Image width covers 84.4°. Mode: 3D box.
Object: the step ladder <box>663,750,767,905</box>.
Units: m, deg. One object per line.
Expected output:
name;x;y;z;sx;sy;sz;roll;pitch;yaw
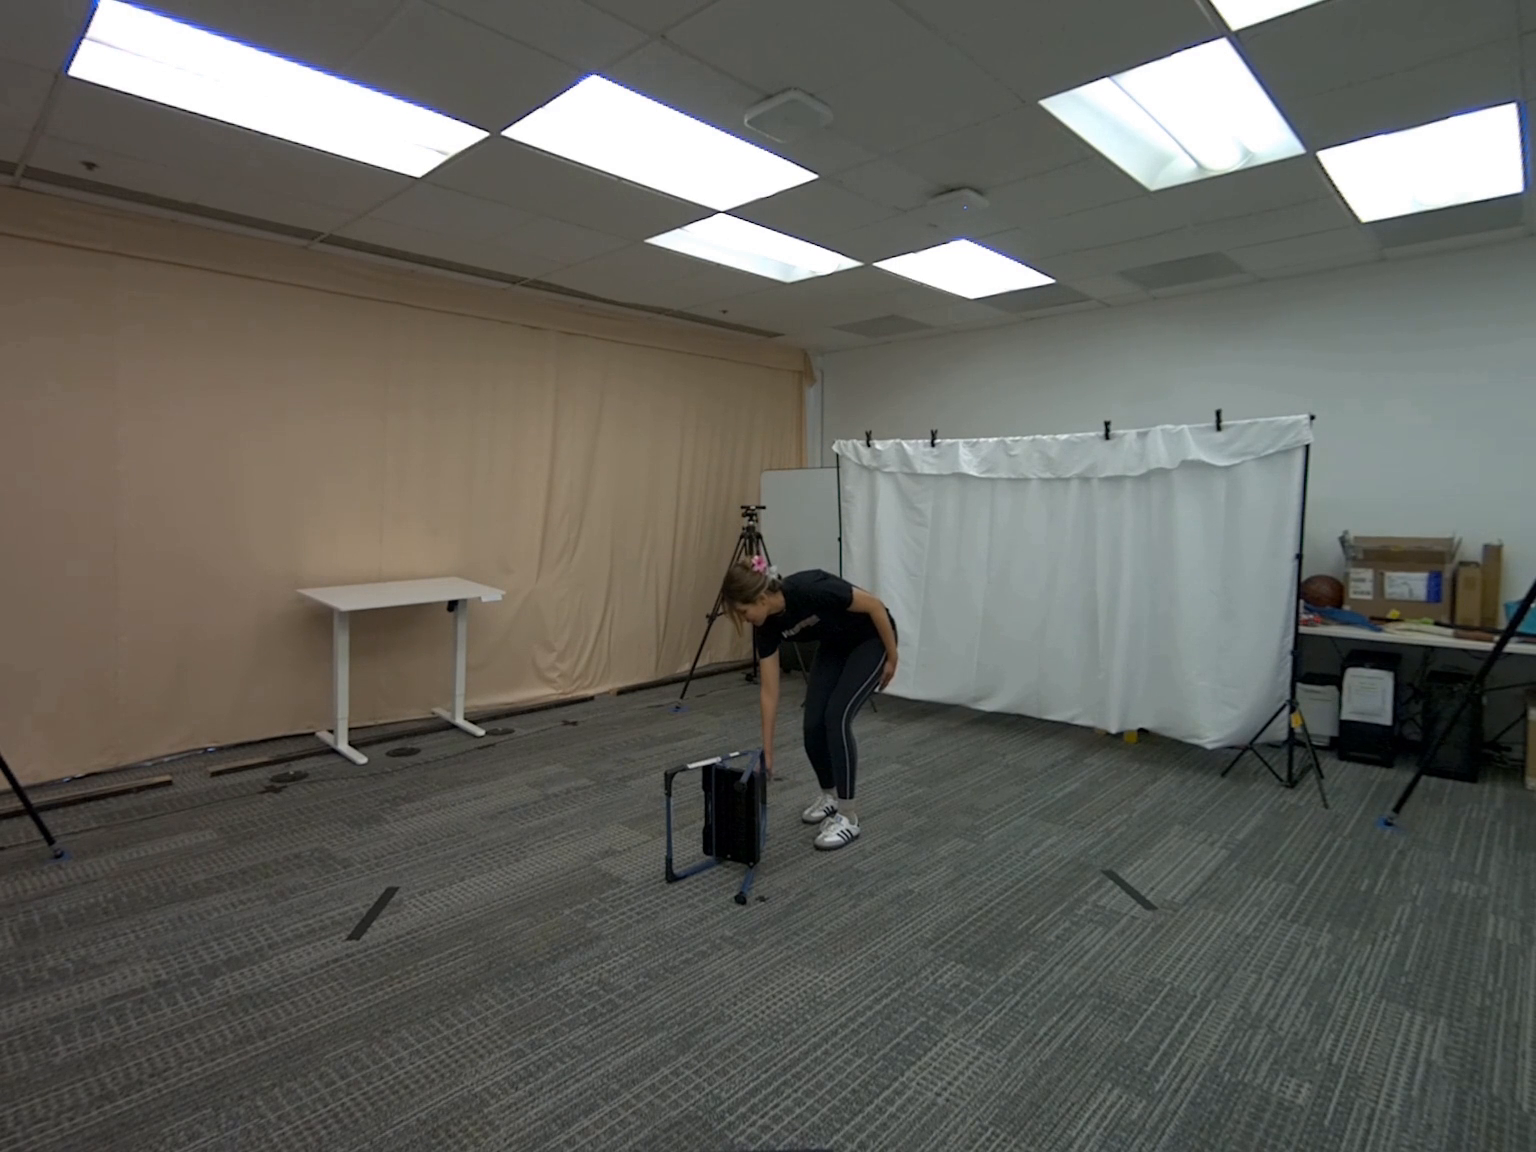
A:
step ladder;-0.095;0.916;3.275;0.359;0.430;0.590;2;3;30
